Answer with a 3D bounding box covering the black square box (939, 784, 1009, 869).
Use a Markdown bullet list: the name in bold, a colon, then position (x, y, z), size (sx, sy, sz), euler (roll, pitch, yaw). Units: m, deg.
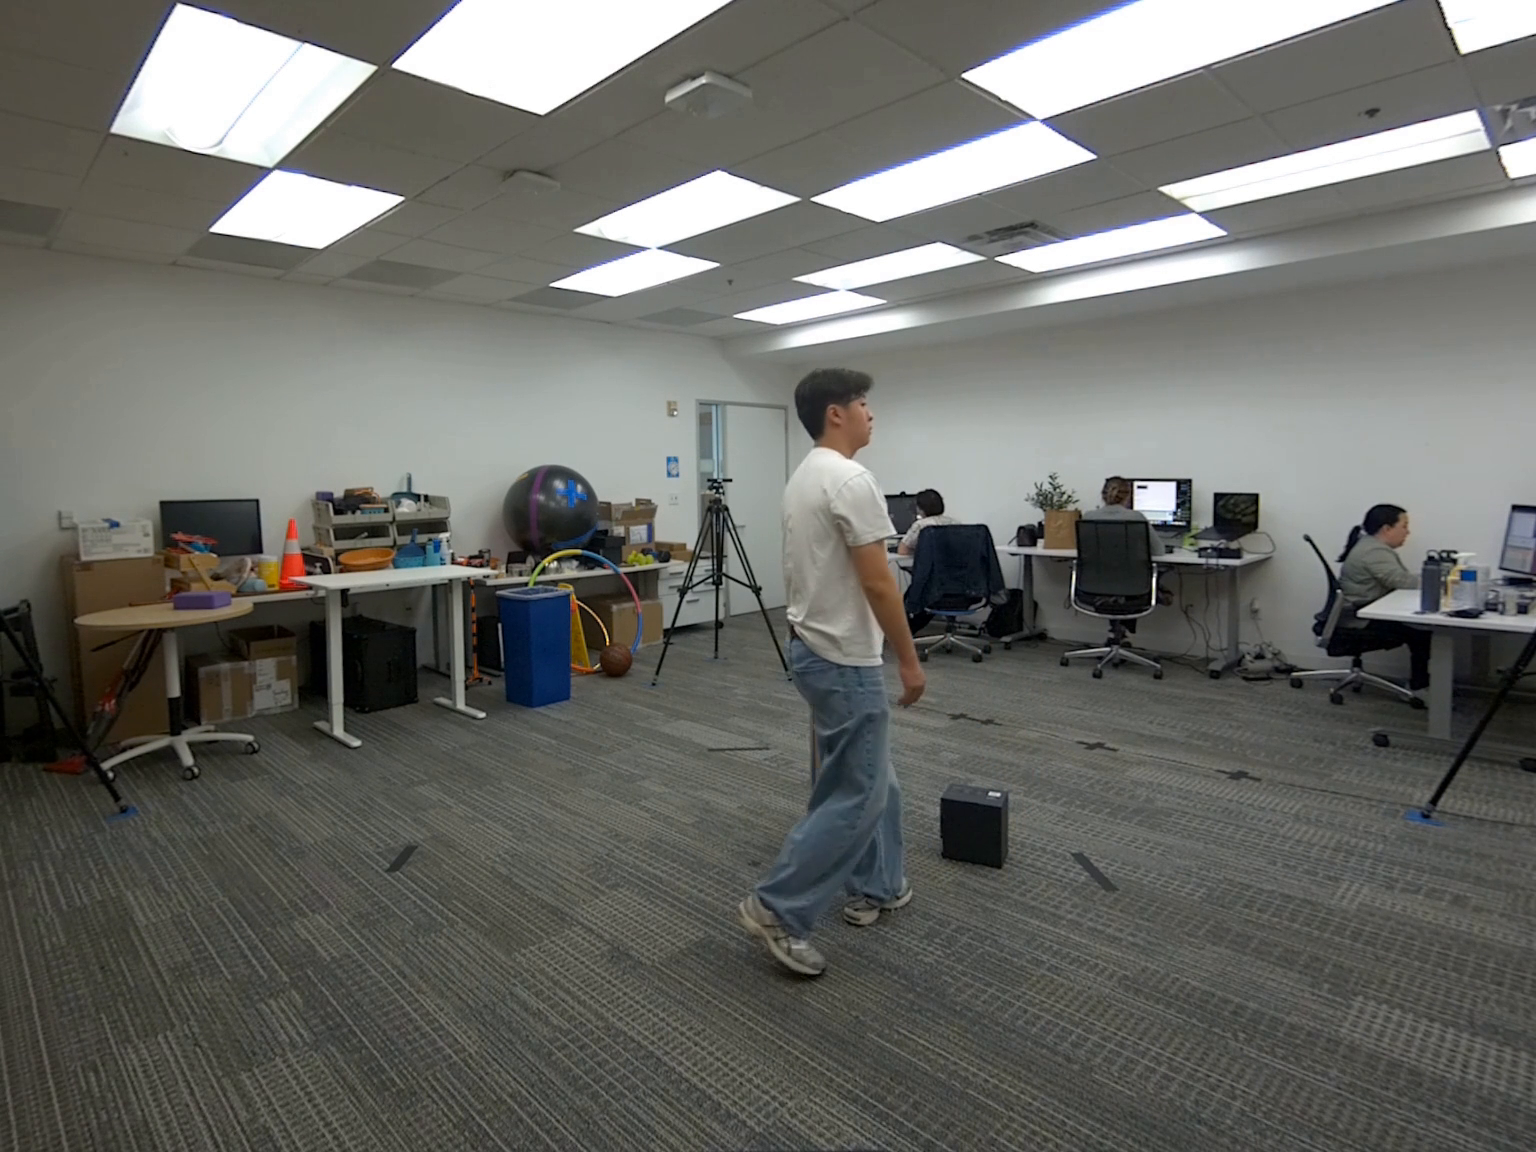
- **black square box**: position (0.756, 0.903, 3.129), size (0.222, 0.227, 0.153), euler (1, 6, 26)
